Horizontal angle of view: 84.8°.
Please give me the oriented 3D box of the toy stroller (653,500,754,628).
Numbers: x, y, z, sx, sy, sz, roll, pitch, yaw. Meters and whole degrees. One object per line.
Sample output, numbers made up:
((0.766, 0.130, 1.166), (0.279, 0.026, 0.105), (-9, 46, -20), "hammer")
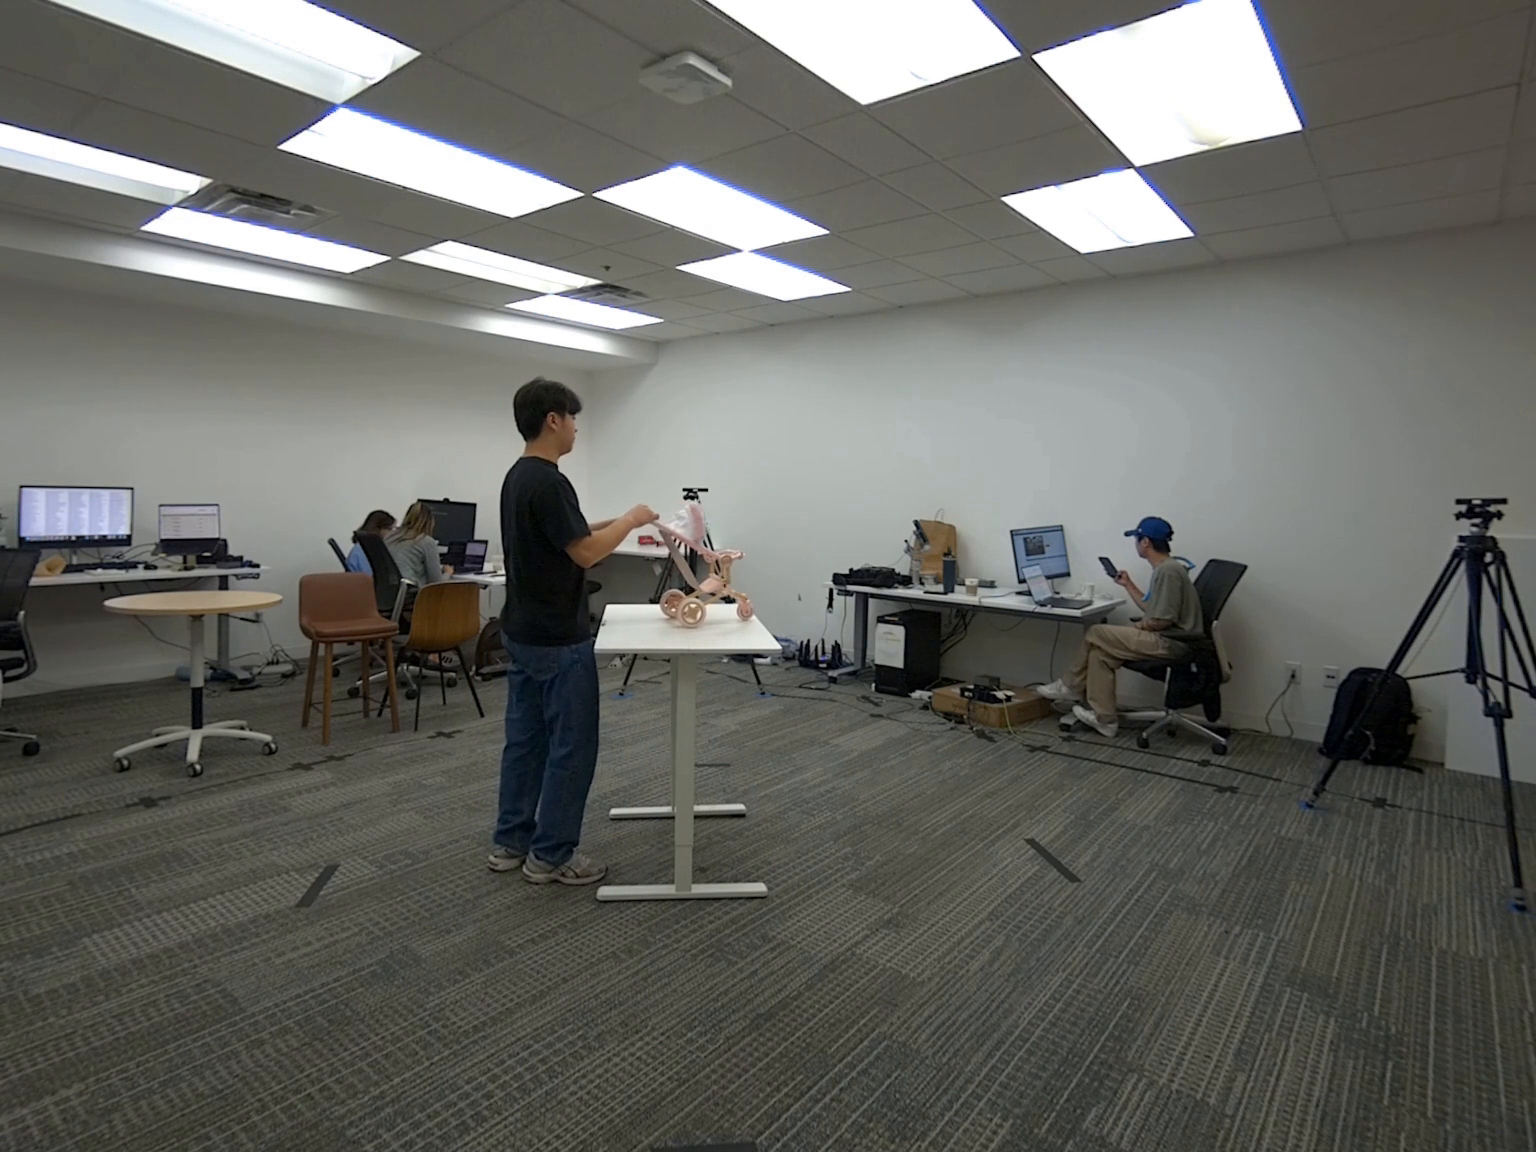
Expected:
((-0.273, -0.048, 3.211), (0.338, 0.530, 0.287), (-16, 8, -13), "toy stroller")
